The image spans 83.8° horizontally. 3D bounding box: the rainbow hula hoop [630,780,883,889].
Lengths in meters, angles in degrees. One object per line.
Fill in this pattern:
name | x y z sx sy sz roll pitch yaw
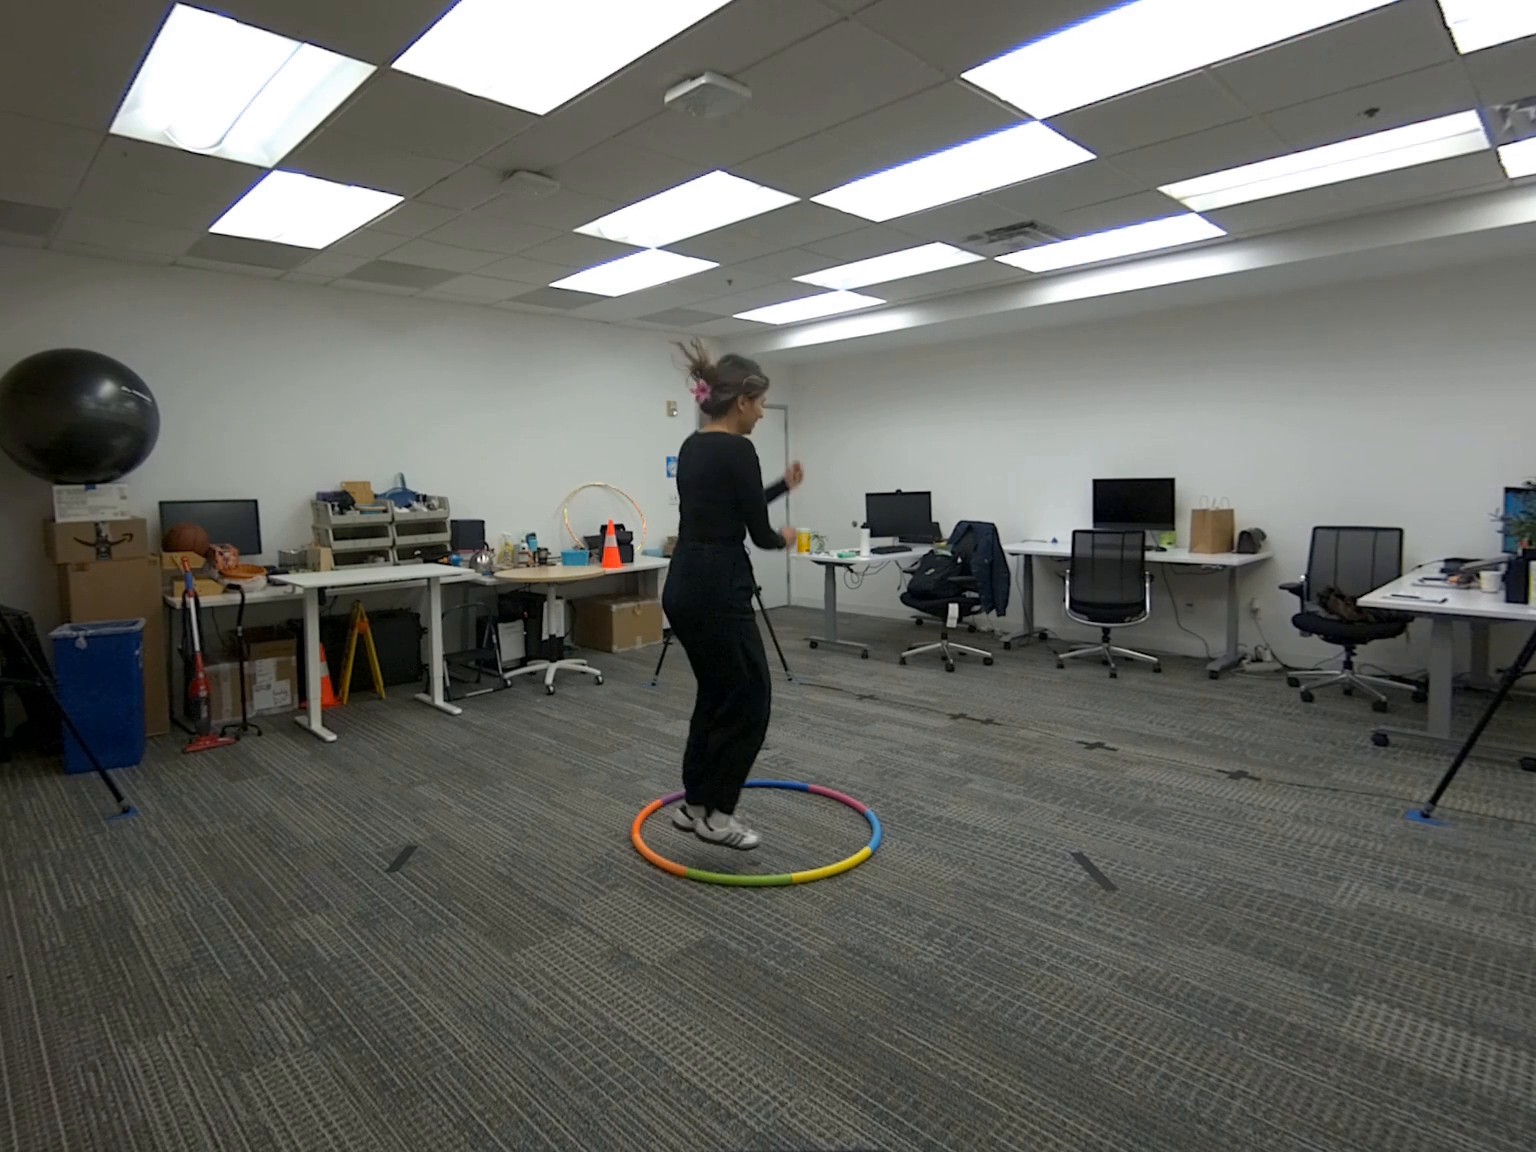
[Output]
rainbow hula hoop | -0.047 0.982 3.402 0.978 0.035 0.984 -1 6 -2
